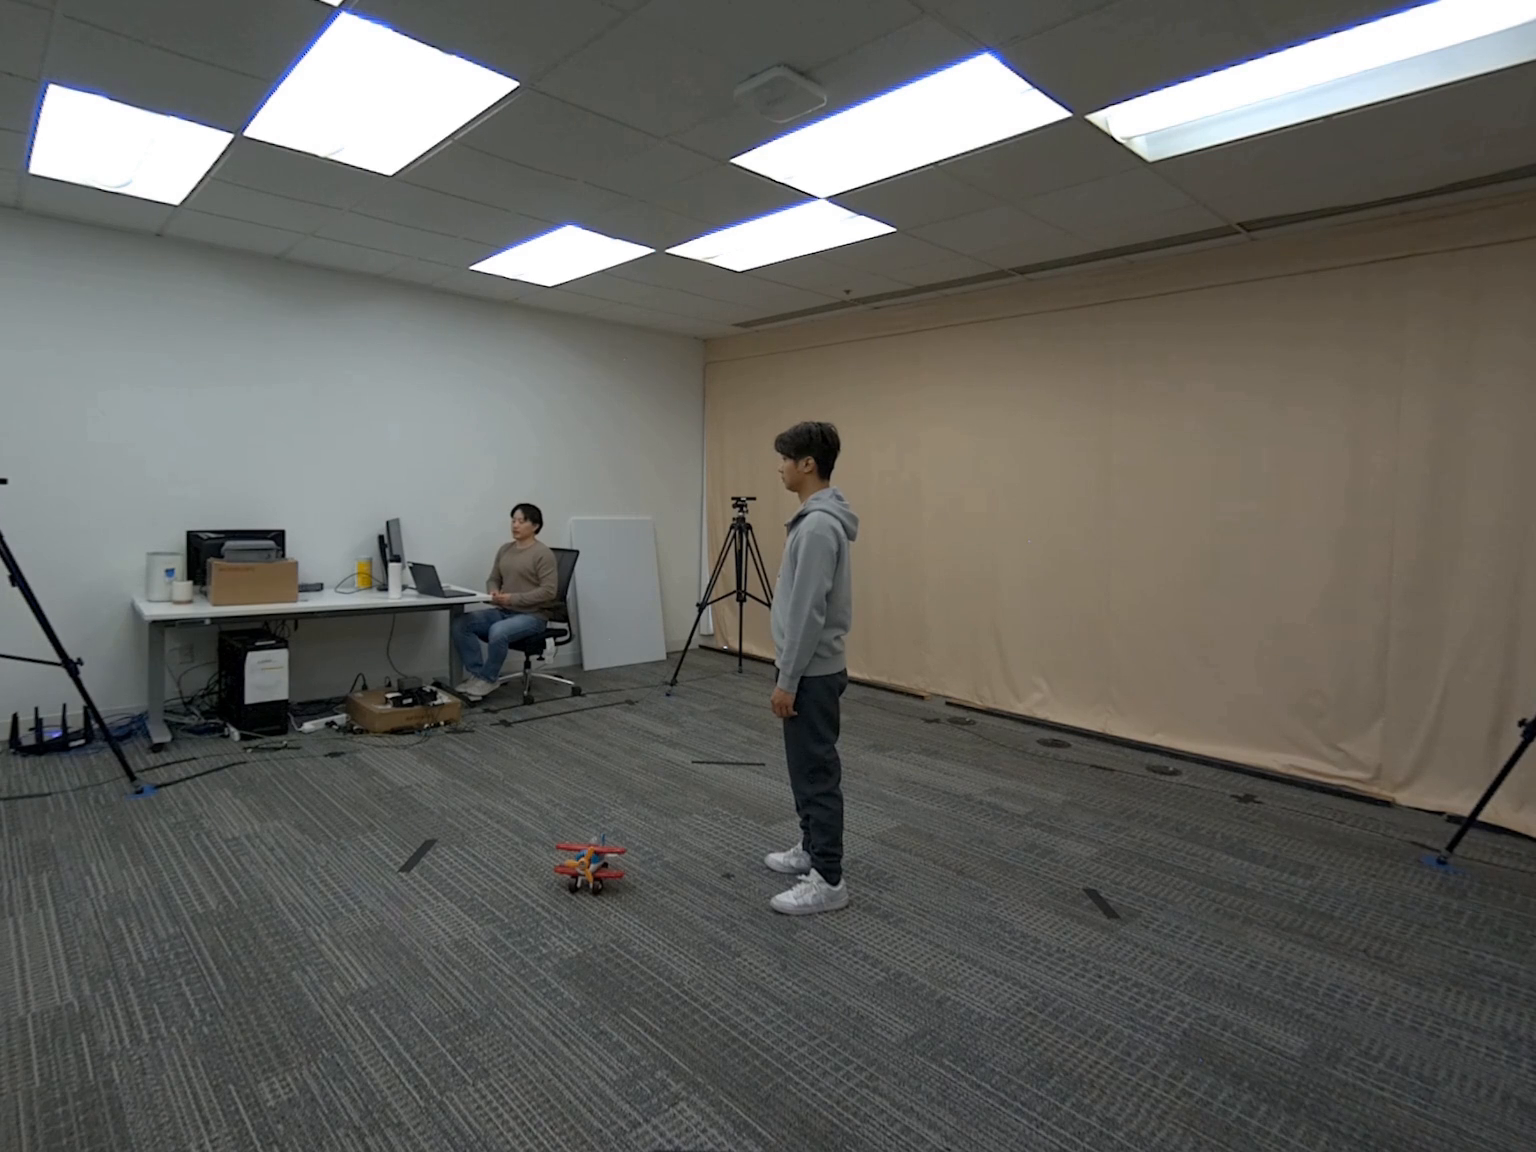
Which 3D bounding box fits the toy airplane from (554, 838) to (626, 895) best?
[{"bbox_3d":[-0.650,1.027,3.028,0.247,0.156,0.264,0,5,-23],"label":"toy airplane"}]
